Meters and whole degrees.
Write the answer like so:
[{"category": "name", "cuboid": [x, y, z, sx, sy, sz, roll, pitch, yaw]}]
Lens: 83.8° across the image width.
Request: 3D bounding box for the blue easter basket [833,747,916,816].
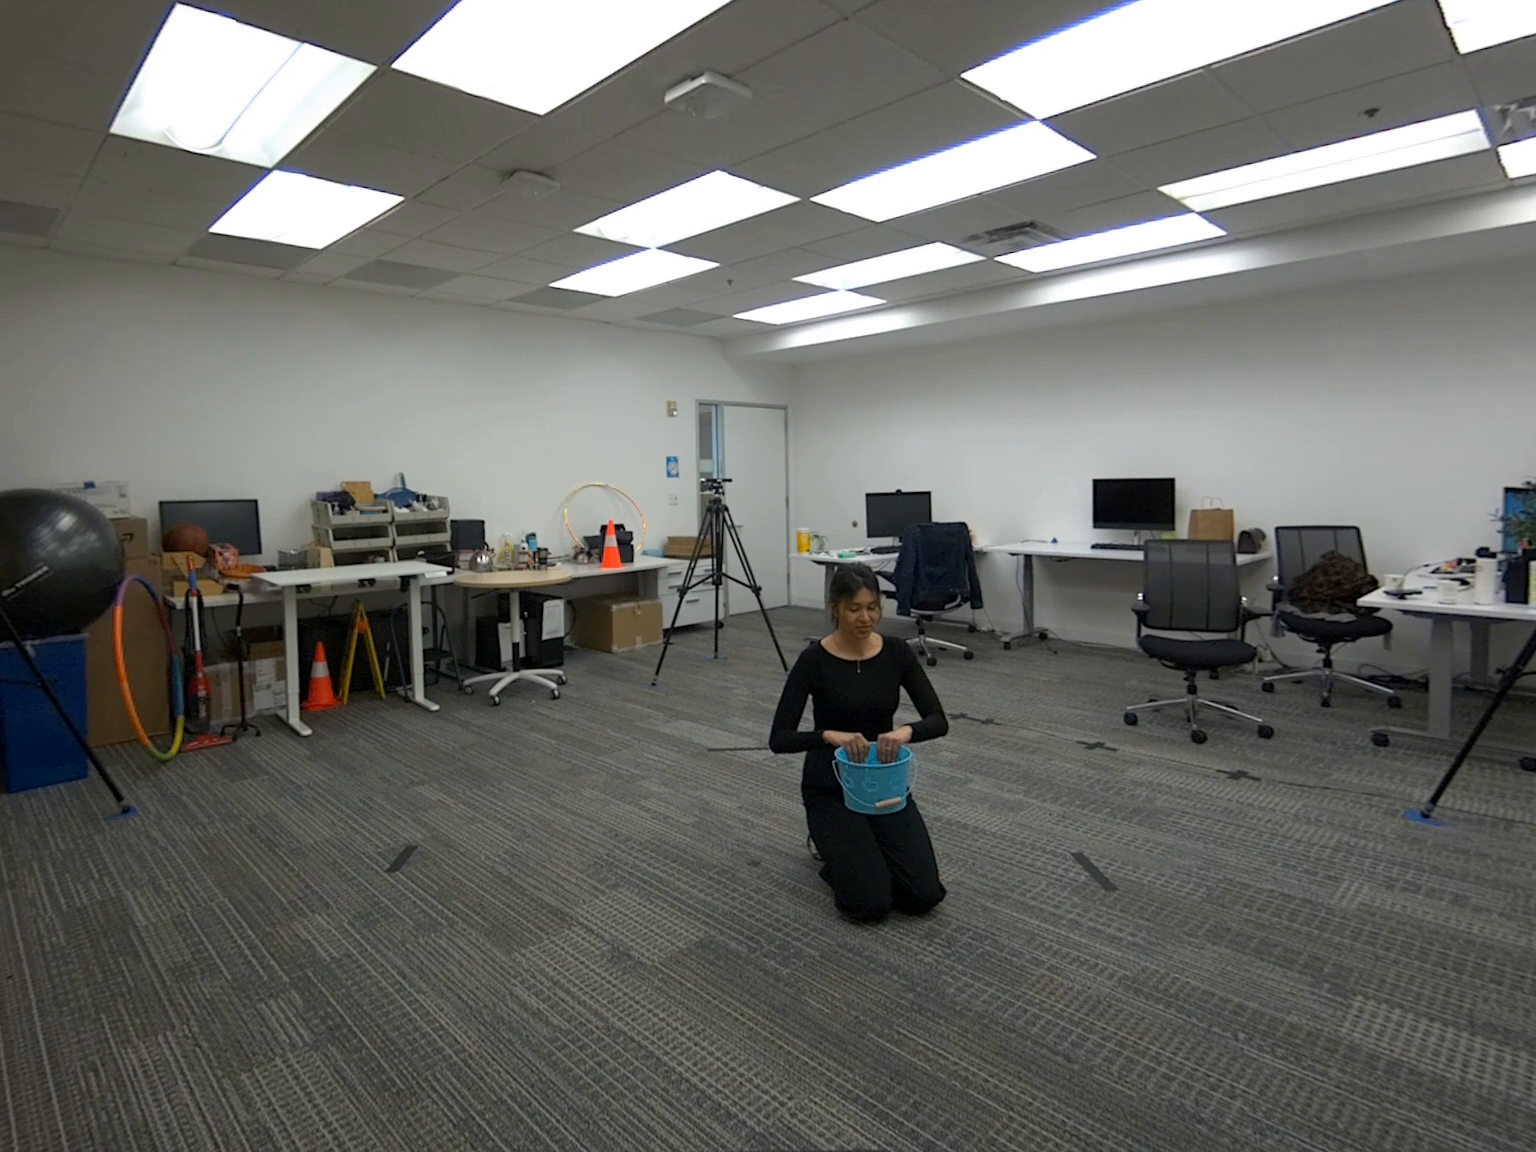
[{"category": "blue easter basket", "cuboid": [0.324, 0.613, 2.567, 0.243, 0.155, 0.245, -5, 5, -1]}]
